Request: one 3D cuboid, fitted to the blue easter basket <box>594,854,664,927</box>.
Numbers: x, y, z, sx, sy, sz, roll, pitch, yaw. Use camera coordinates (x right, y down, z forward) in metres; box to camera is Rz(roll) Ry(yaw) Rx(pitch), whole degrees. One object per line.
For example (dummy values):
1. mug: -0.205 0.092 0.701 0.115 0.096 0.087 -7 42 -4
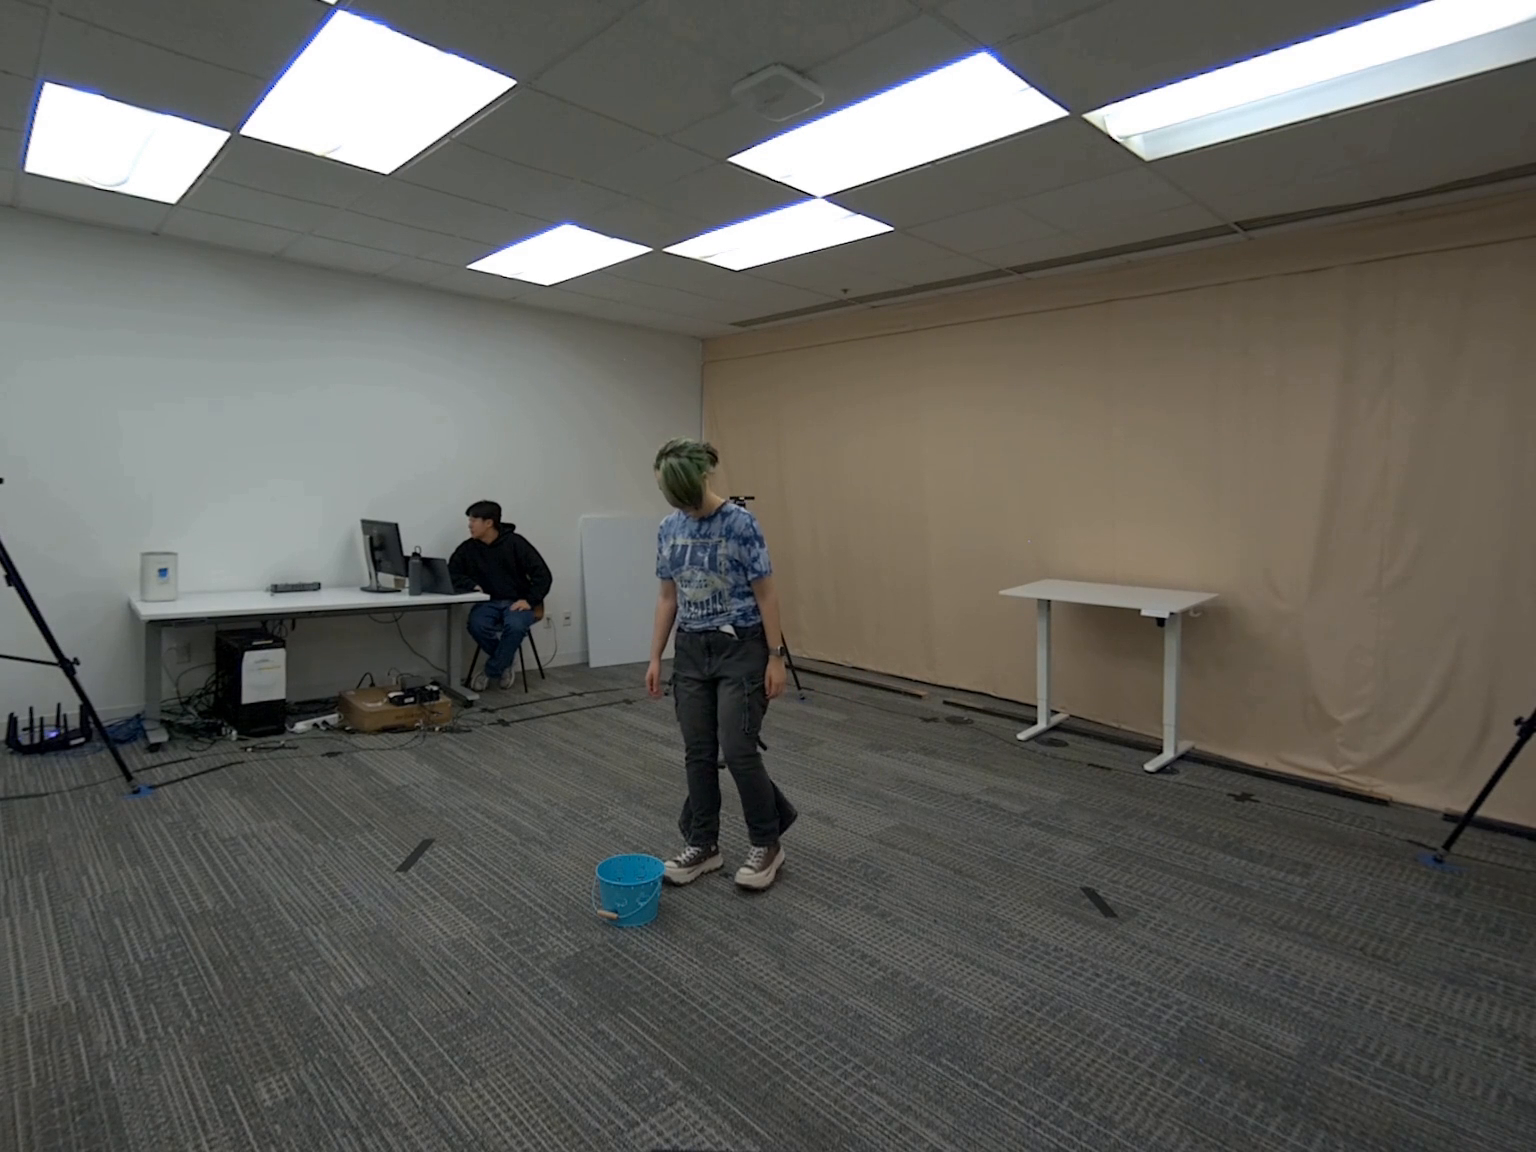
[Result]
1. blue easter basket: -0.470 1.047 2.802 0.243 0.155 0.244 1 5 -1
